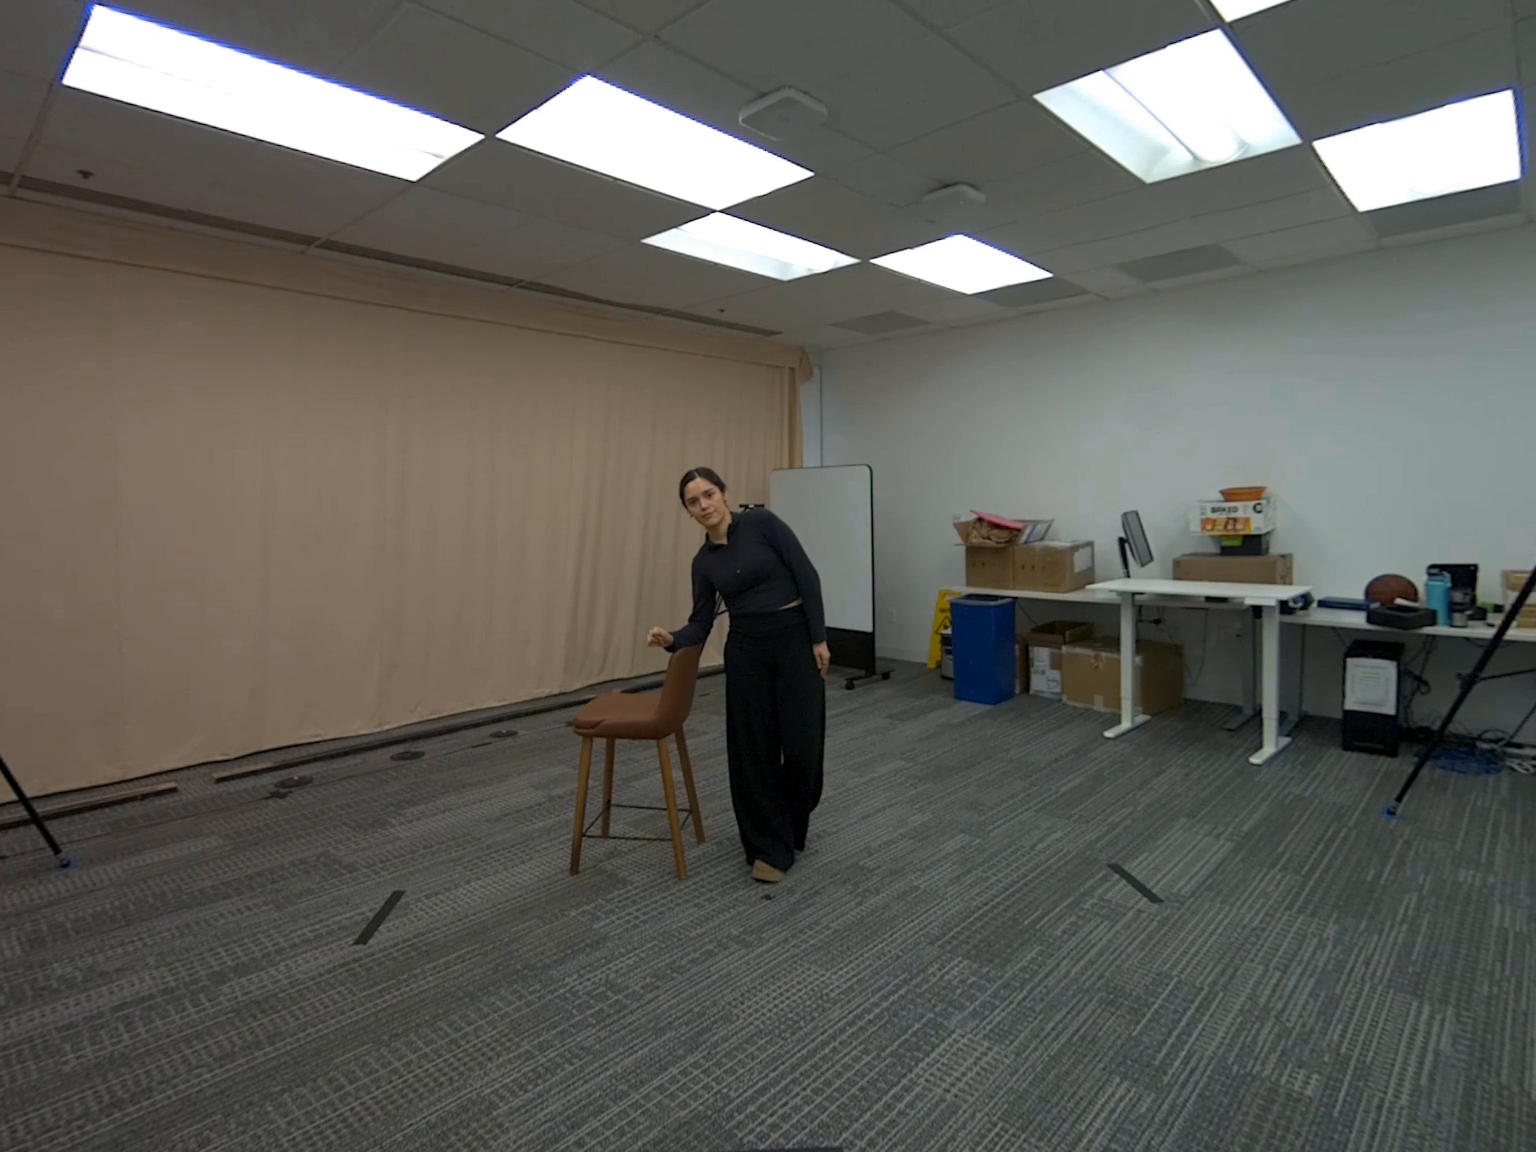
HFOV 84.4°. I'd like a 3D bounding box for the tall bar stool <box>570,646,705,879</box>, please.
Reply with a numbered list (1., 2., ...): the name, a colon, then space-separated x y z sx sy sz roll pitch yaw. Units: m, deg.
1. tall bar stool: -0.512 0.686 3.341 0.473 0.888 0.452 1 4 9
